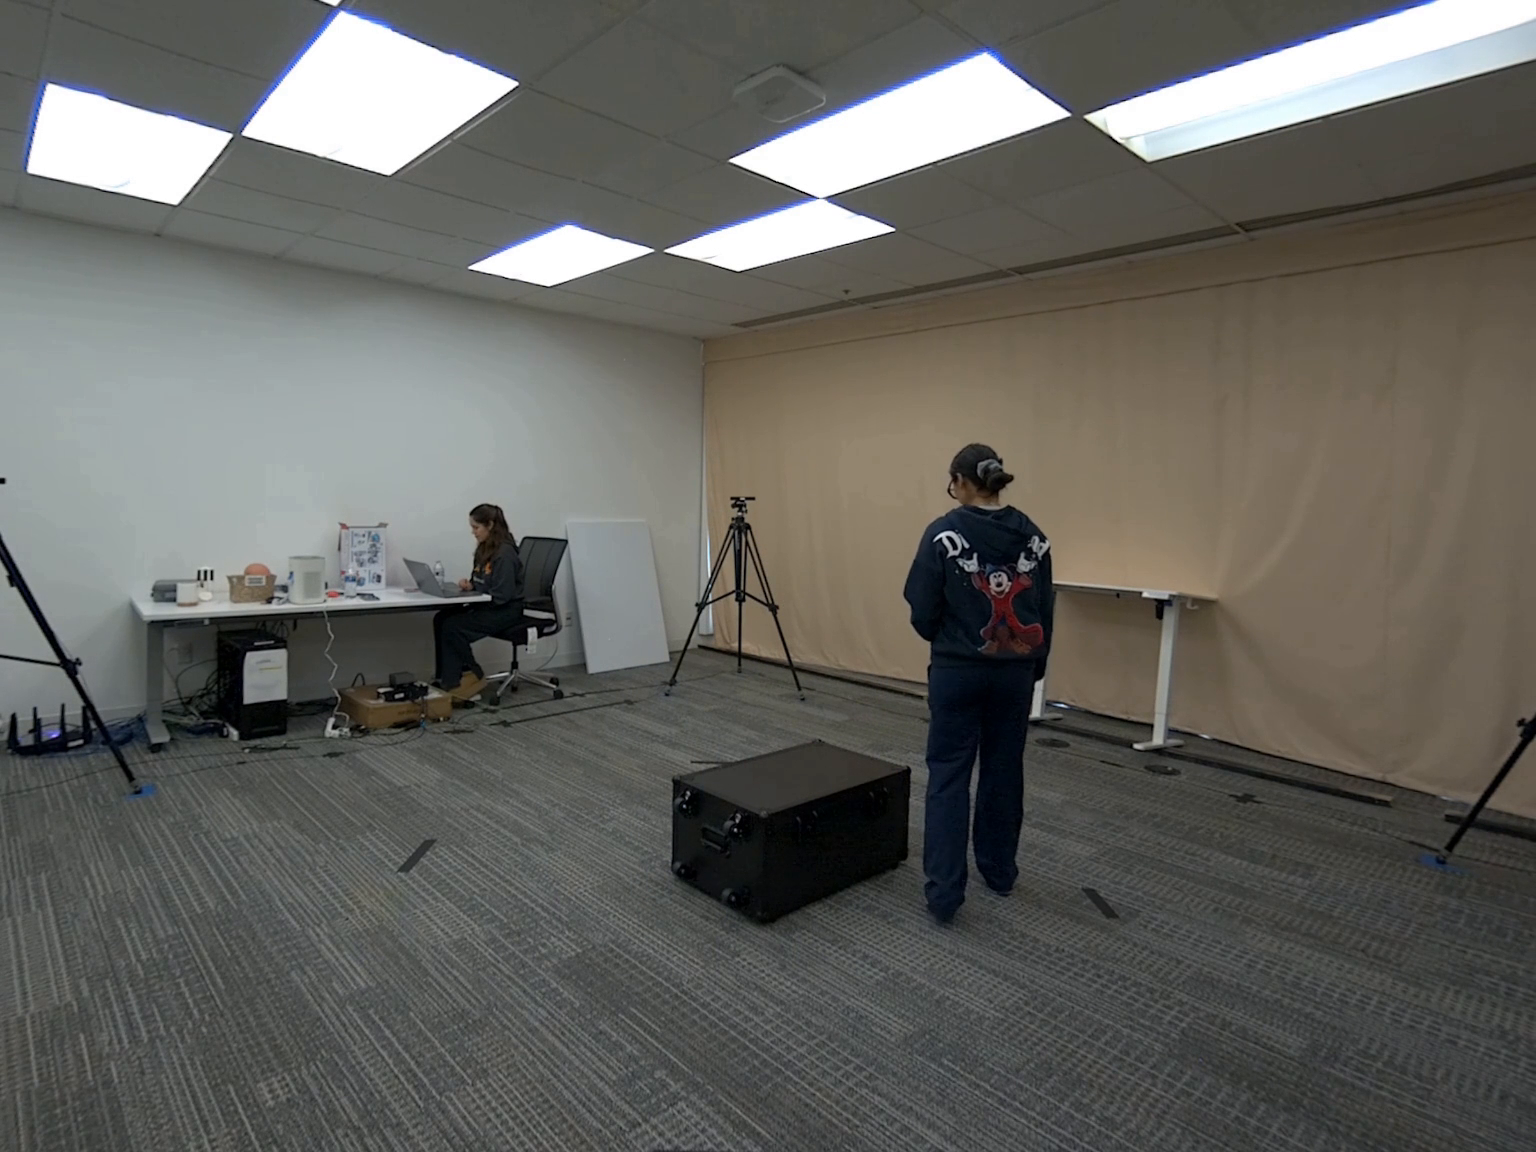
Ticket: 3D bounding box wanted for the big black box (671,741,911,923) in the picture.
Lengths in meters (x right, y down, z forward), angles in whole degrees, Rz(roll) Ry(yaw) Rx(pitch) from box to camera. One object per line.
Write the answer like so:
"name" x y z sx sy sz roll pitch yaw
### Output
"big black box" 0.066 0.919 3.126 0.841 0.395 0.534 -2 5 -44
